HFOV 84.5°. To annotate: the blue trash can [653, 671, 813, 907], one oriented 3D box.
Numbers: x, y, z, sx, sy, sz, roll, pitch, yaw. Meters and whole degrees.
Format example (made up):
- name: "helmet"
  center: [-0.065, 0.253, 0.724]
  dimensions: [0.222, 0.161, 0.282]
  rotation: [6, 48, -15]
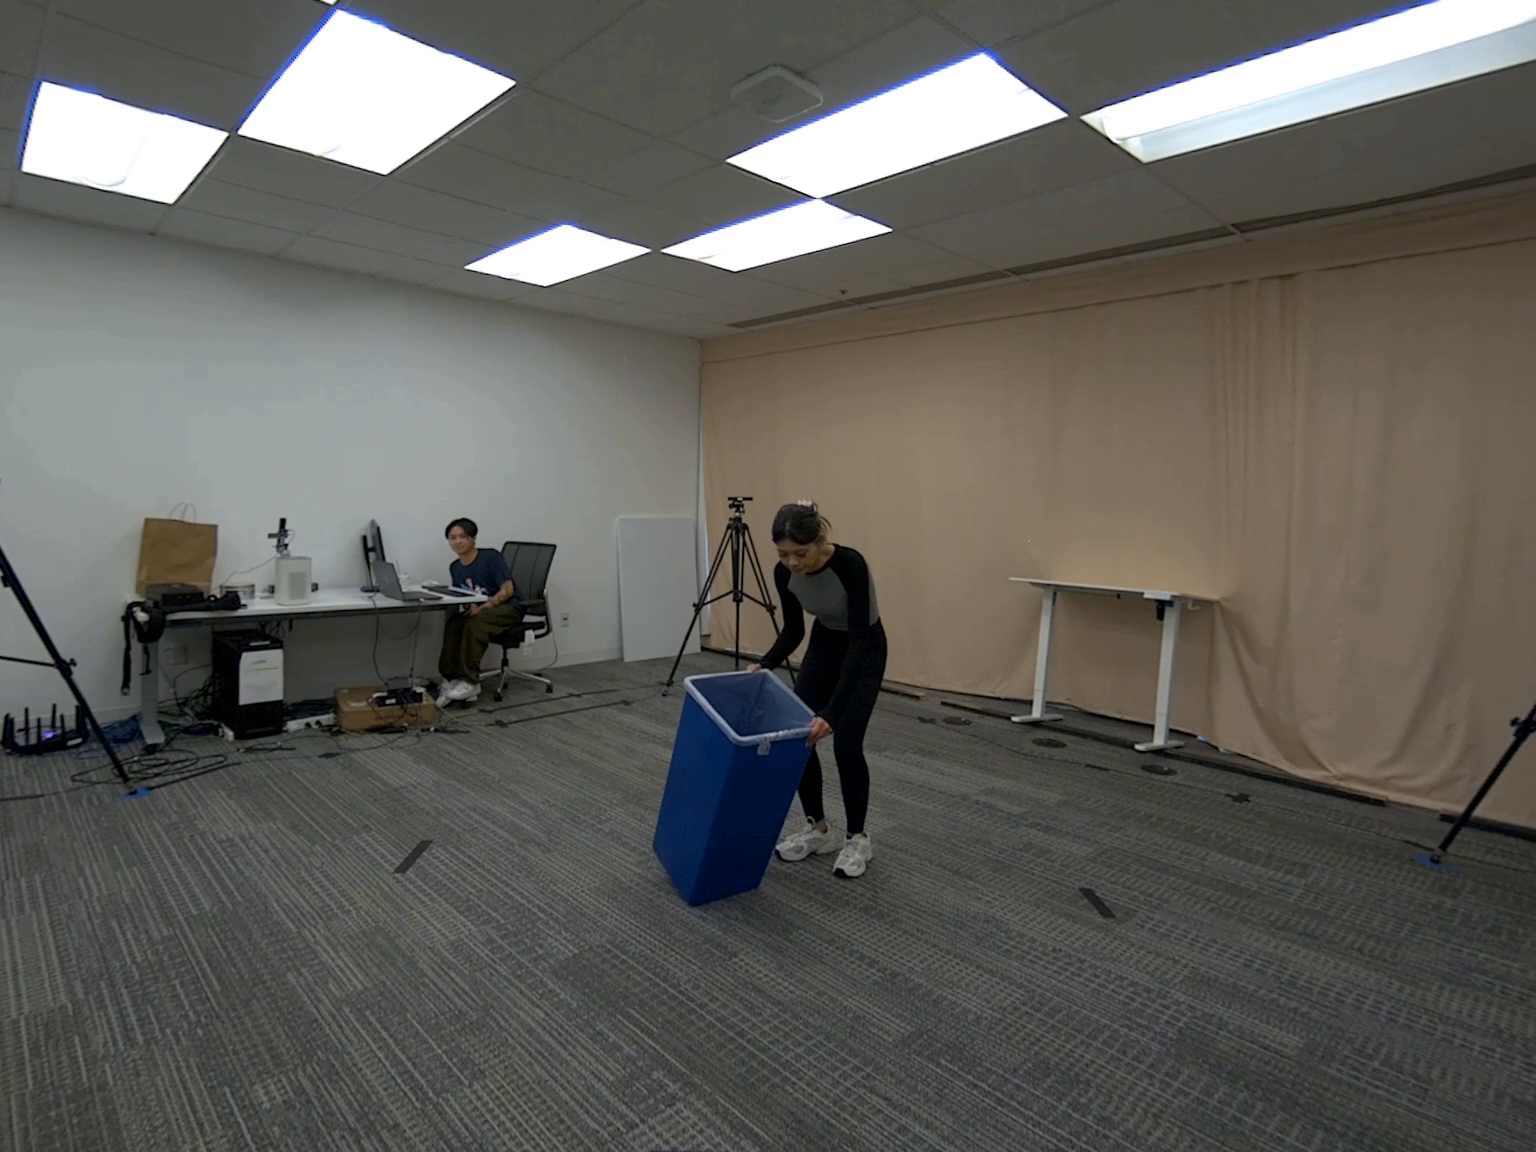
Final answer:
- name: "blue trash can"
  center: [-0.138, 0.736, 2.924]
  dimensions: [0.366, 0.706, 0.390]
  rotation: [-1, 26, -37]
